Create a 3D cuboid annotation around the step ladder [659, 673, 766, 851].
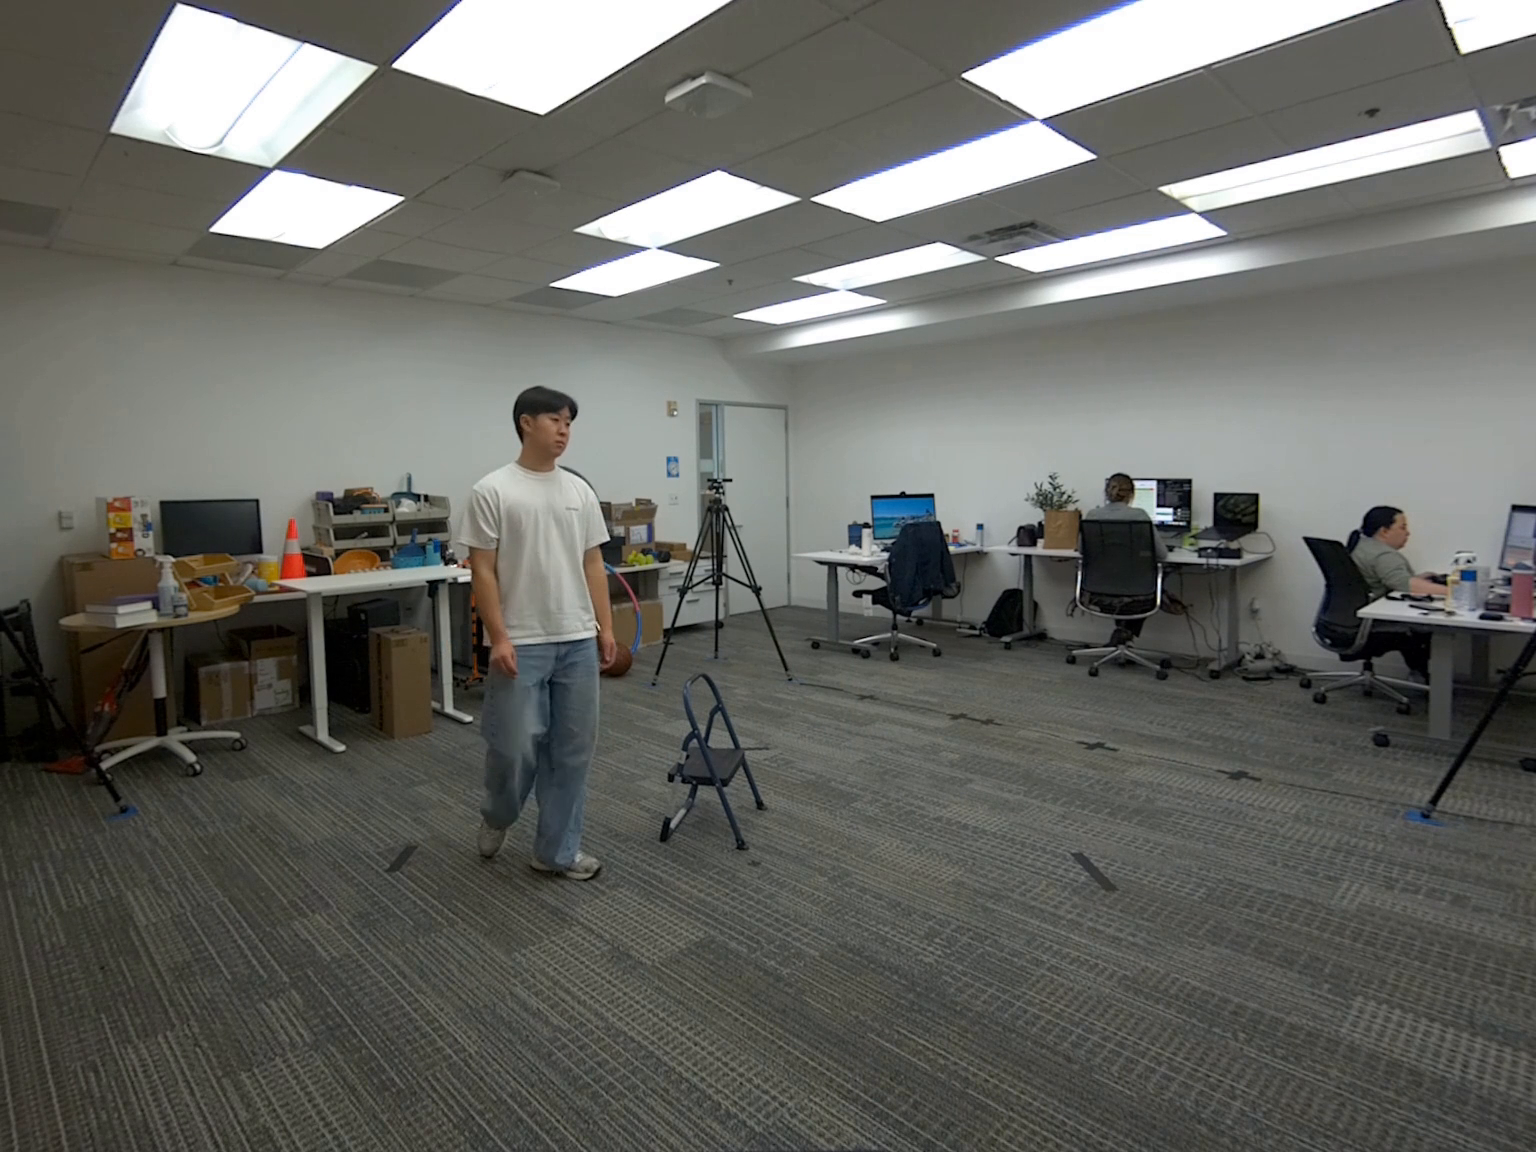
[{"bbox_3d":[-0.220,0.706,3.447,0.353,0.604,0.427,0,4,11],"label":"step ladder"}]
